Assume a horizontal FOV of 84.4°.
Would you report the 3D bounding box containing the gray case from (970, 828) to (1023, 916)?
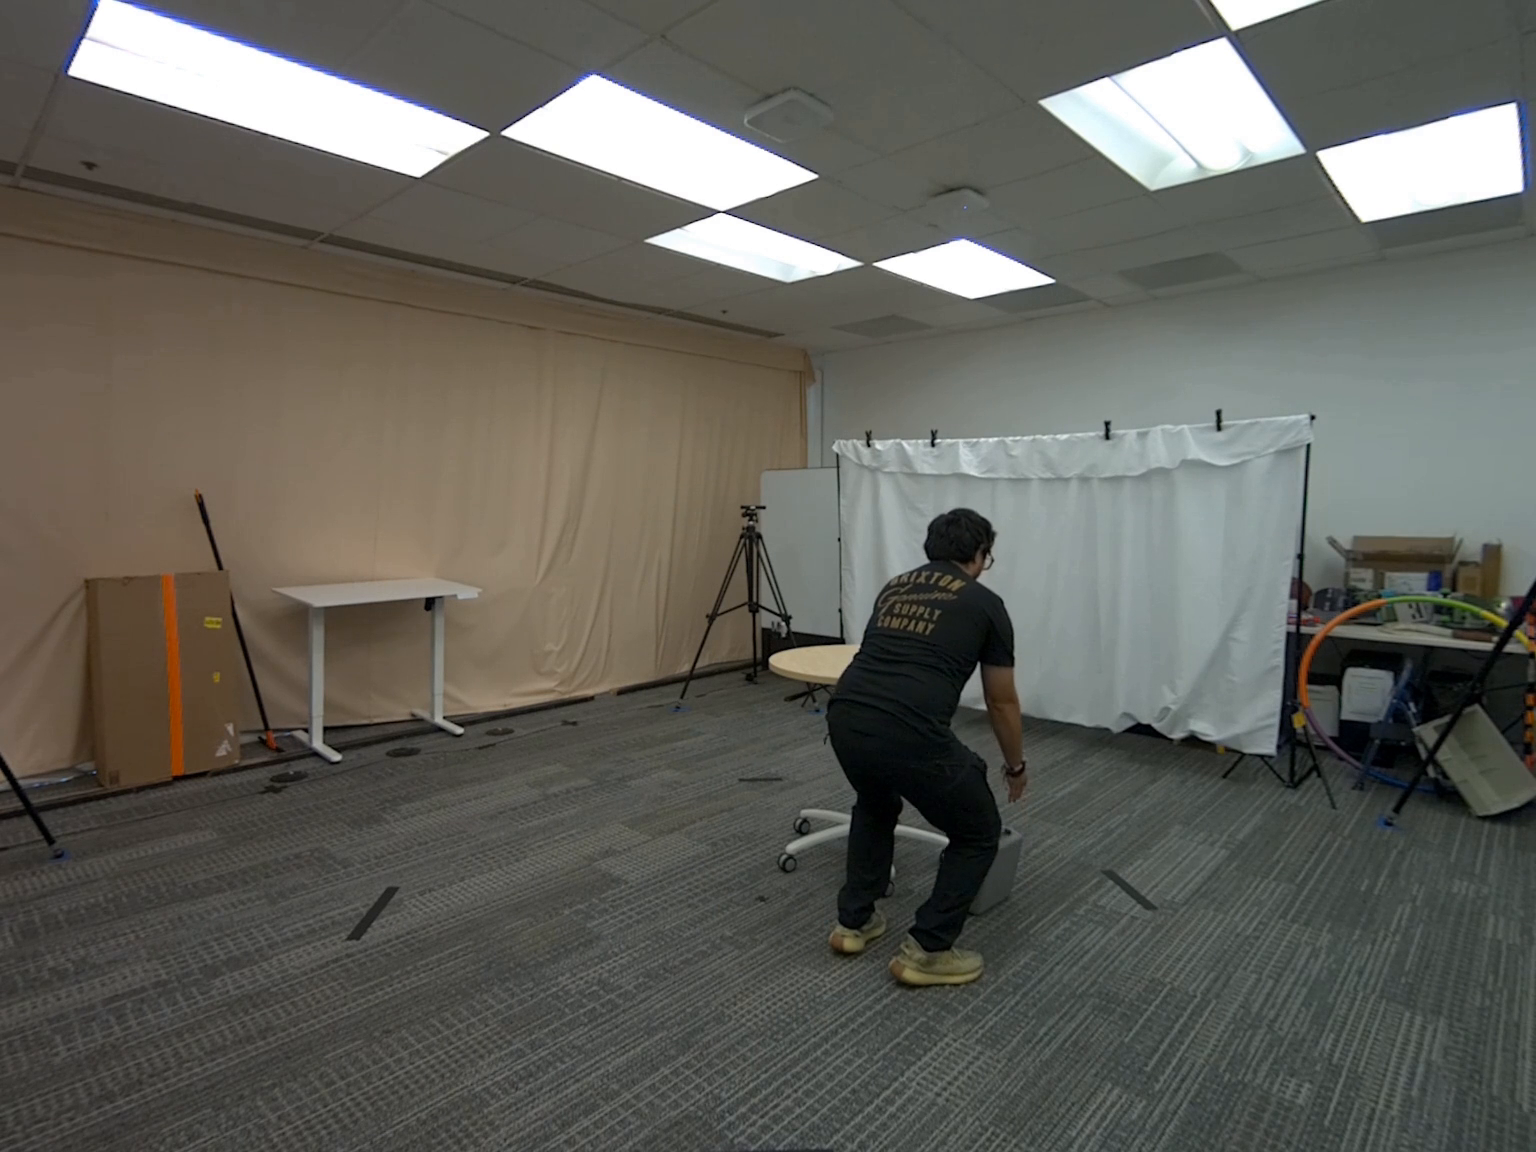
[{"bbox_3d":[0.781,1.017,2.926,0.249,0.259,0.108,-2,14,-43],"label":"gray case"}]
